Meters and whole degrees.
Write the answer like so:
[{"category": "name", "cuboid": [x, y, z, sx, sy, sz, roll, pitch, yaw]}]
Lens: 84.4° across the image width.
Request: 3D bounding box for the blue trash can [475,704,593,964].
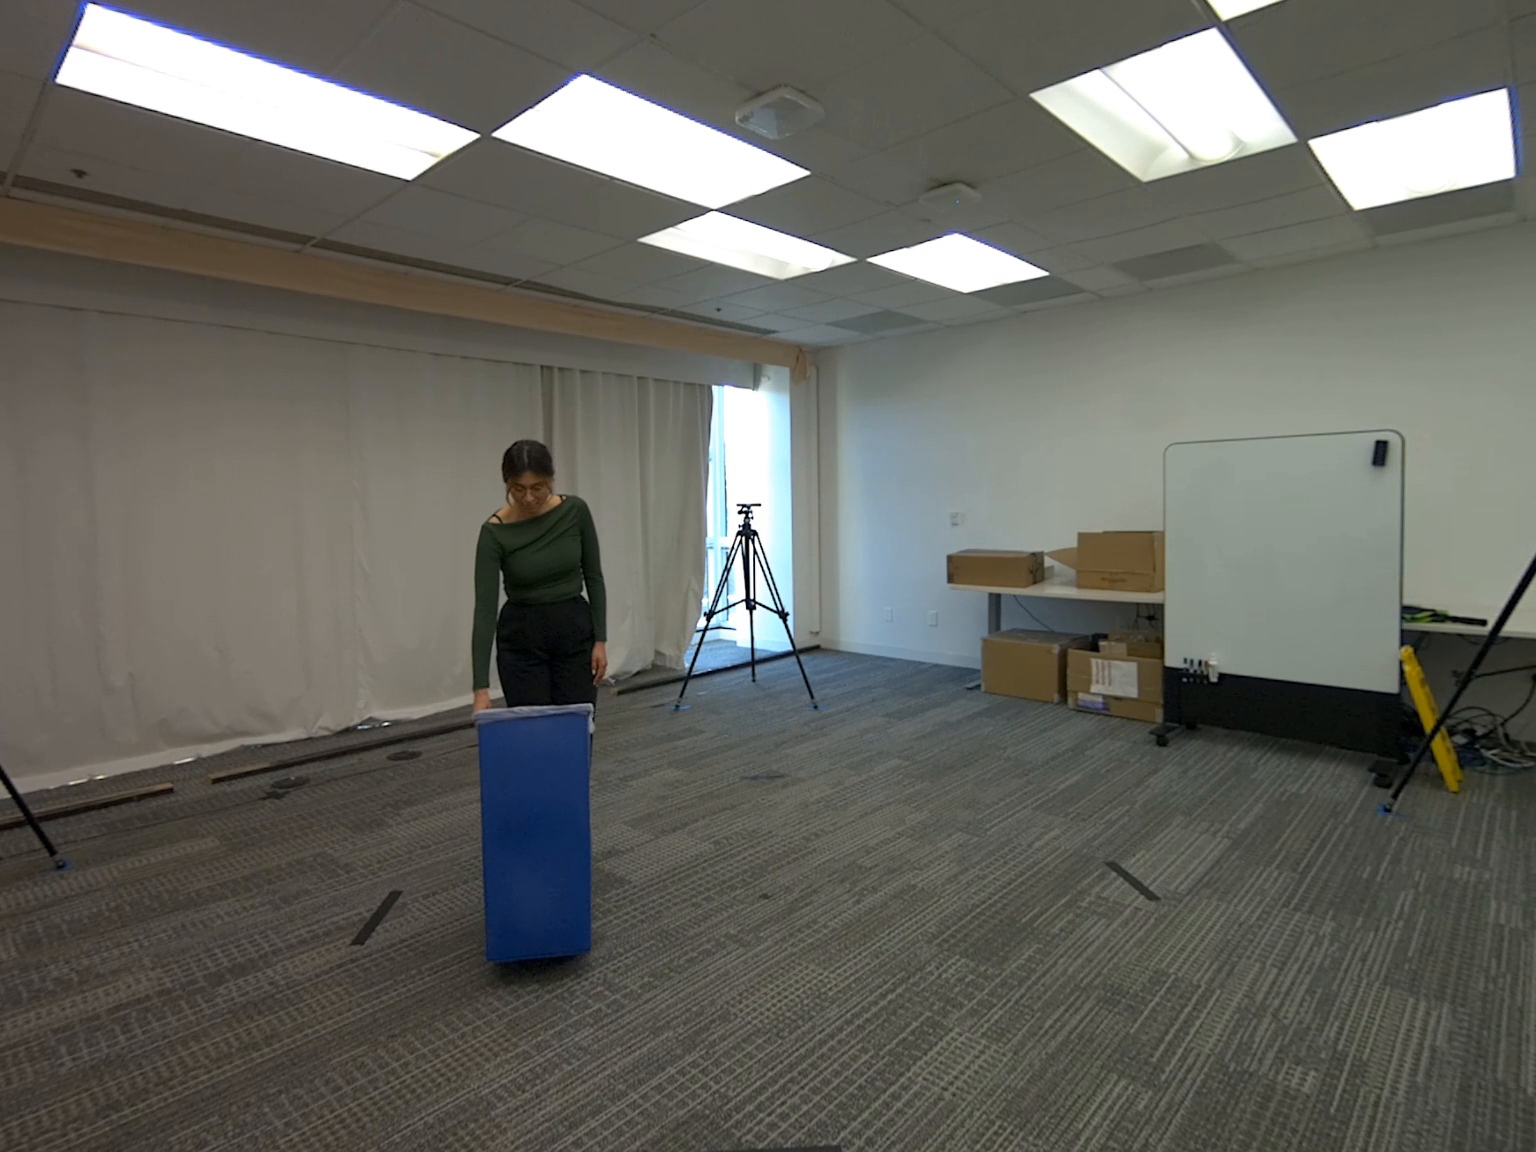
[{"category": "blue trash can", "cuboid": [-0.725, 0.793, 2.669, 0.374, 0.721, 0.374, -3, -15, -12]}]
